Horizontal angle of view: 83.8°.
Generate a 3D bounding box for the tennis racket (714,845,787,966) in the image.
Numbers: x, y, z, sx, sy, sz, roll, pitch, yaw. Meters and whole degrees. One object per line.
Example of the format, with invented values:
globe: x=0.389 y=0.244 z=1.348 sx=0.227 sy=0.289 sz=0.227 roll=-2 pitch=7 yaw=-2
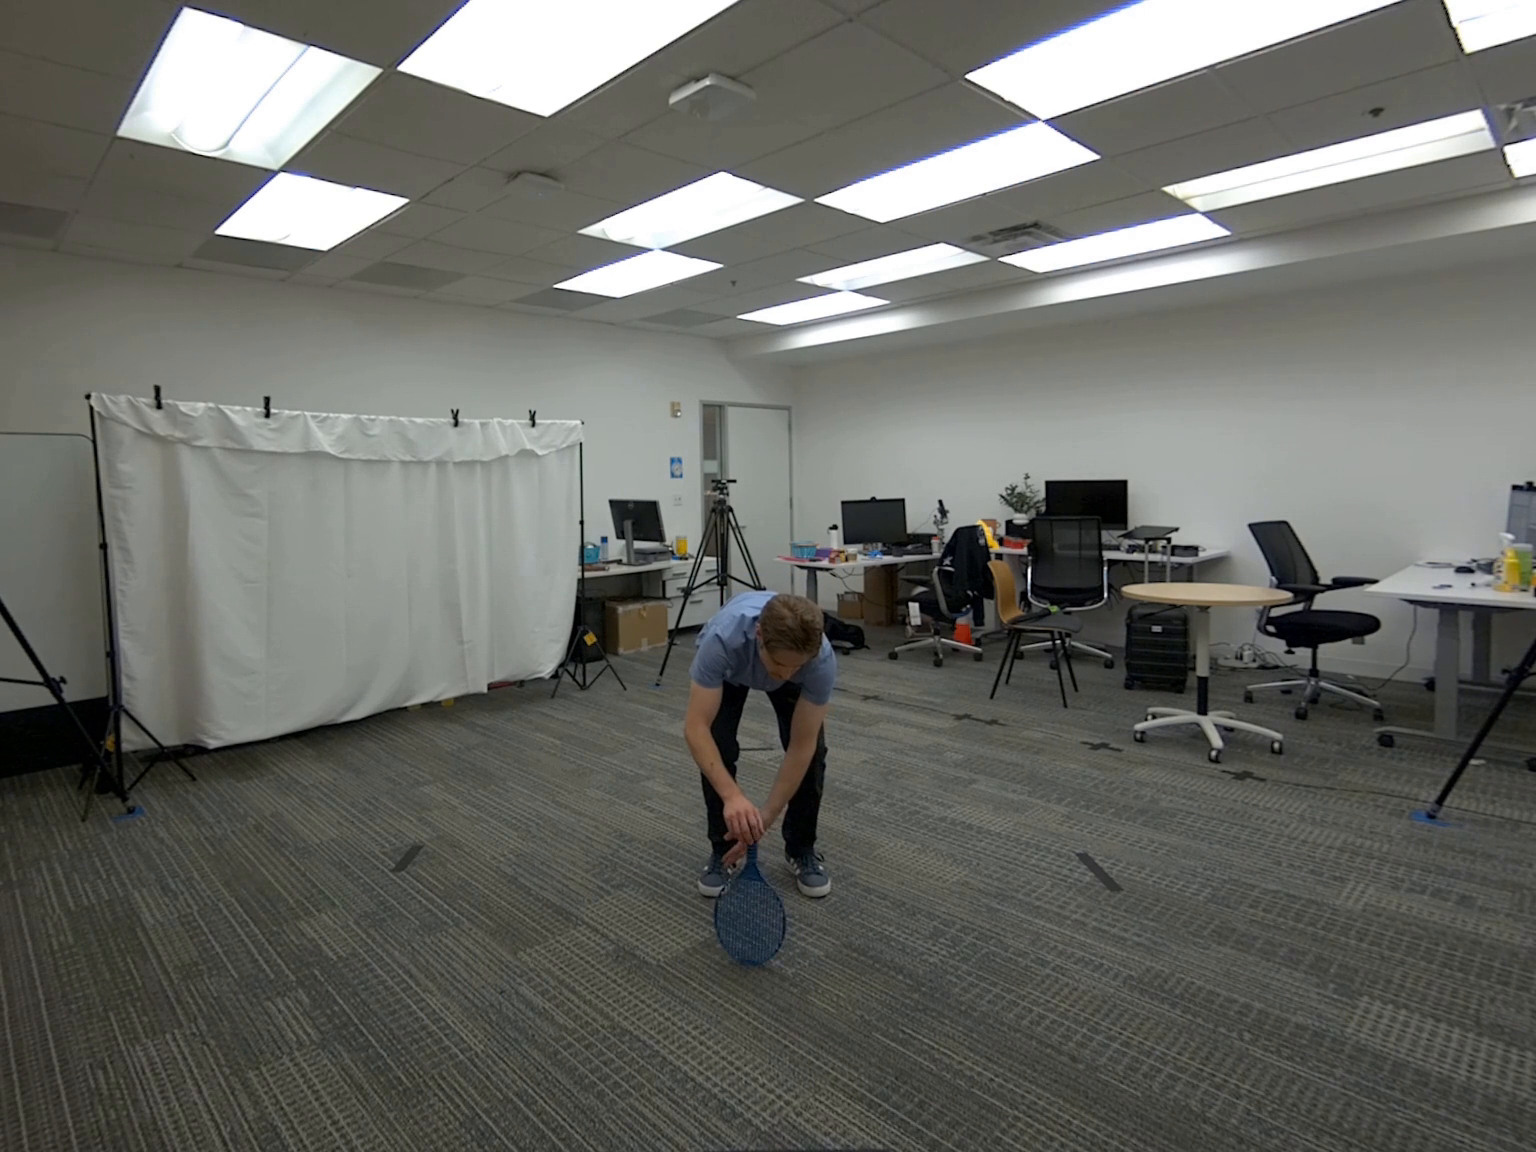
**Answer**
tennis racket: x=-0.043 y=0.910 z=2.473 sx=0.221 sy=0.429 sz=0.031 roll=10 pitch=13 yaw=41
